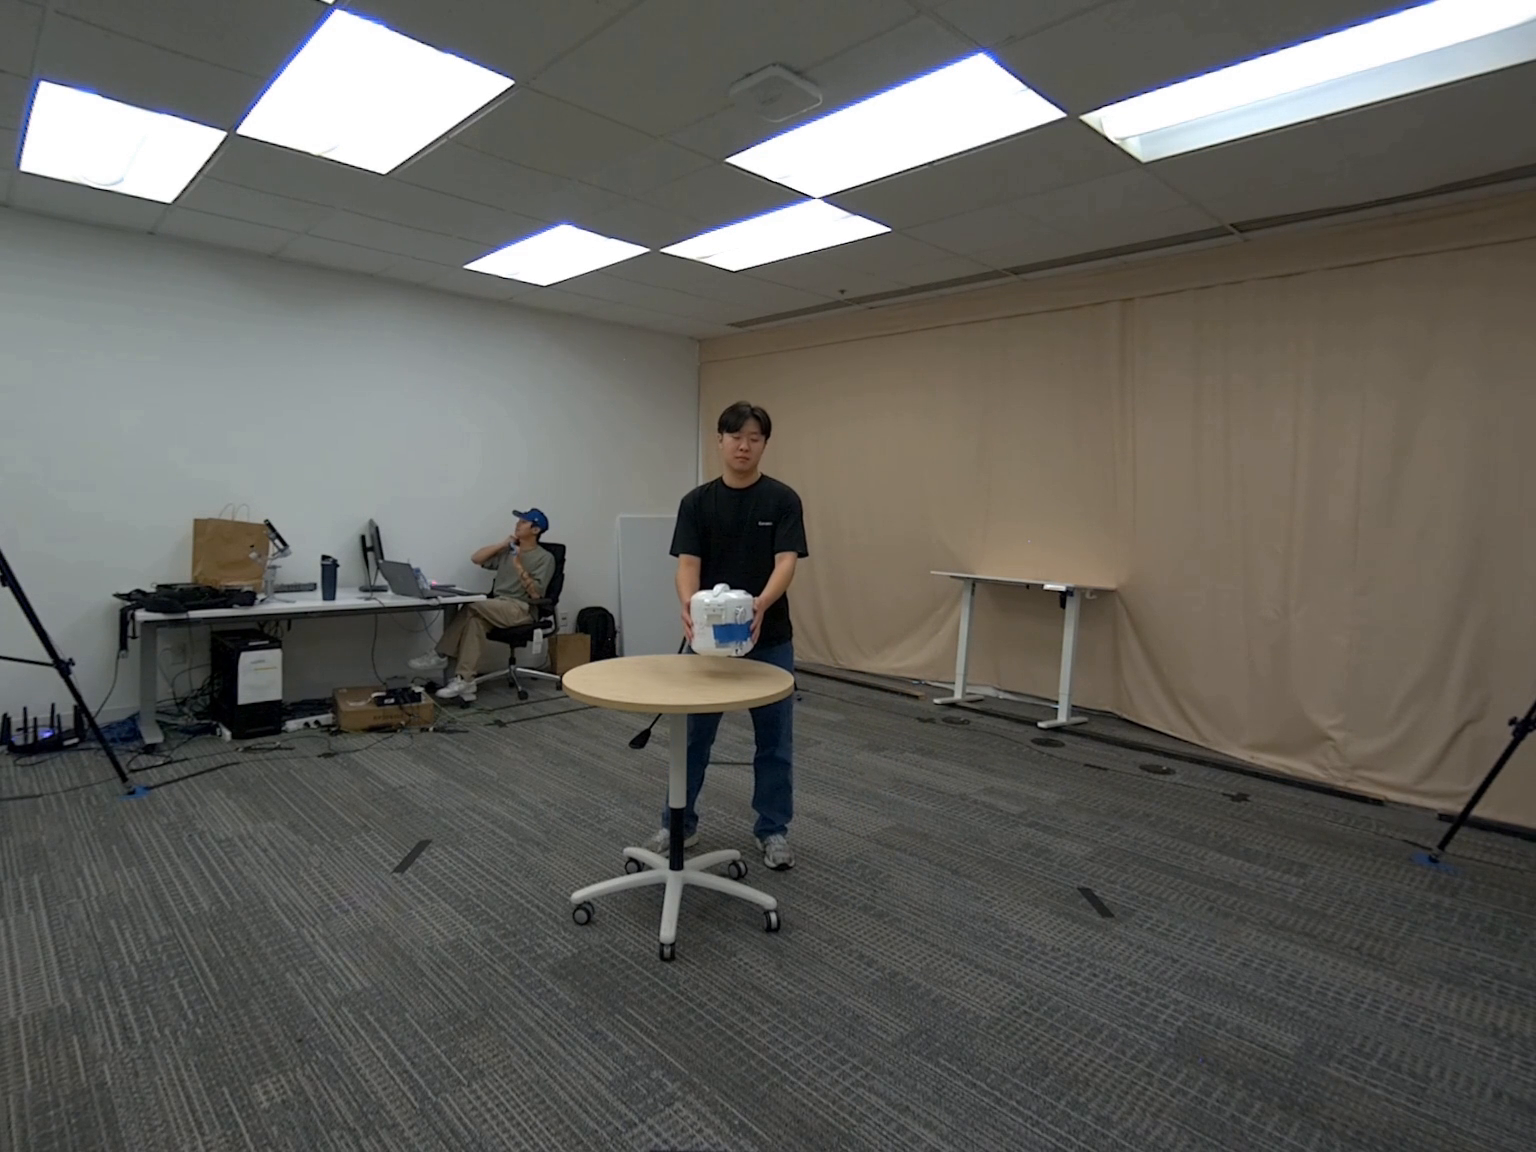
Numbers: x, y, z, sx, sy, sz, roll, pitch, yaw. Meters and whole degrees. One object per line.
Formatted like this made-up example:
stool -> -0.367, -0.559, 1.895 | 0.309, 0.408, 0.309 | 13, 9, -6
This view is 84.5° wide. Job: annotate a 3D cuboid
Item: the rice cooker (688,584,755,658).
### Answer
rice cooker -> -0.161, 0.144, 2.804 | 0.220, 0.232, 0.218 | 0, 2, 13
